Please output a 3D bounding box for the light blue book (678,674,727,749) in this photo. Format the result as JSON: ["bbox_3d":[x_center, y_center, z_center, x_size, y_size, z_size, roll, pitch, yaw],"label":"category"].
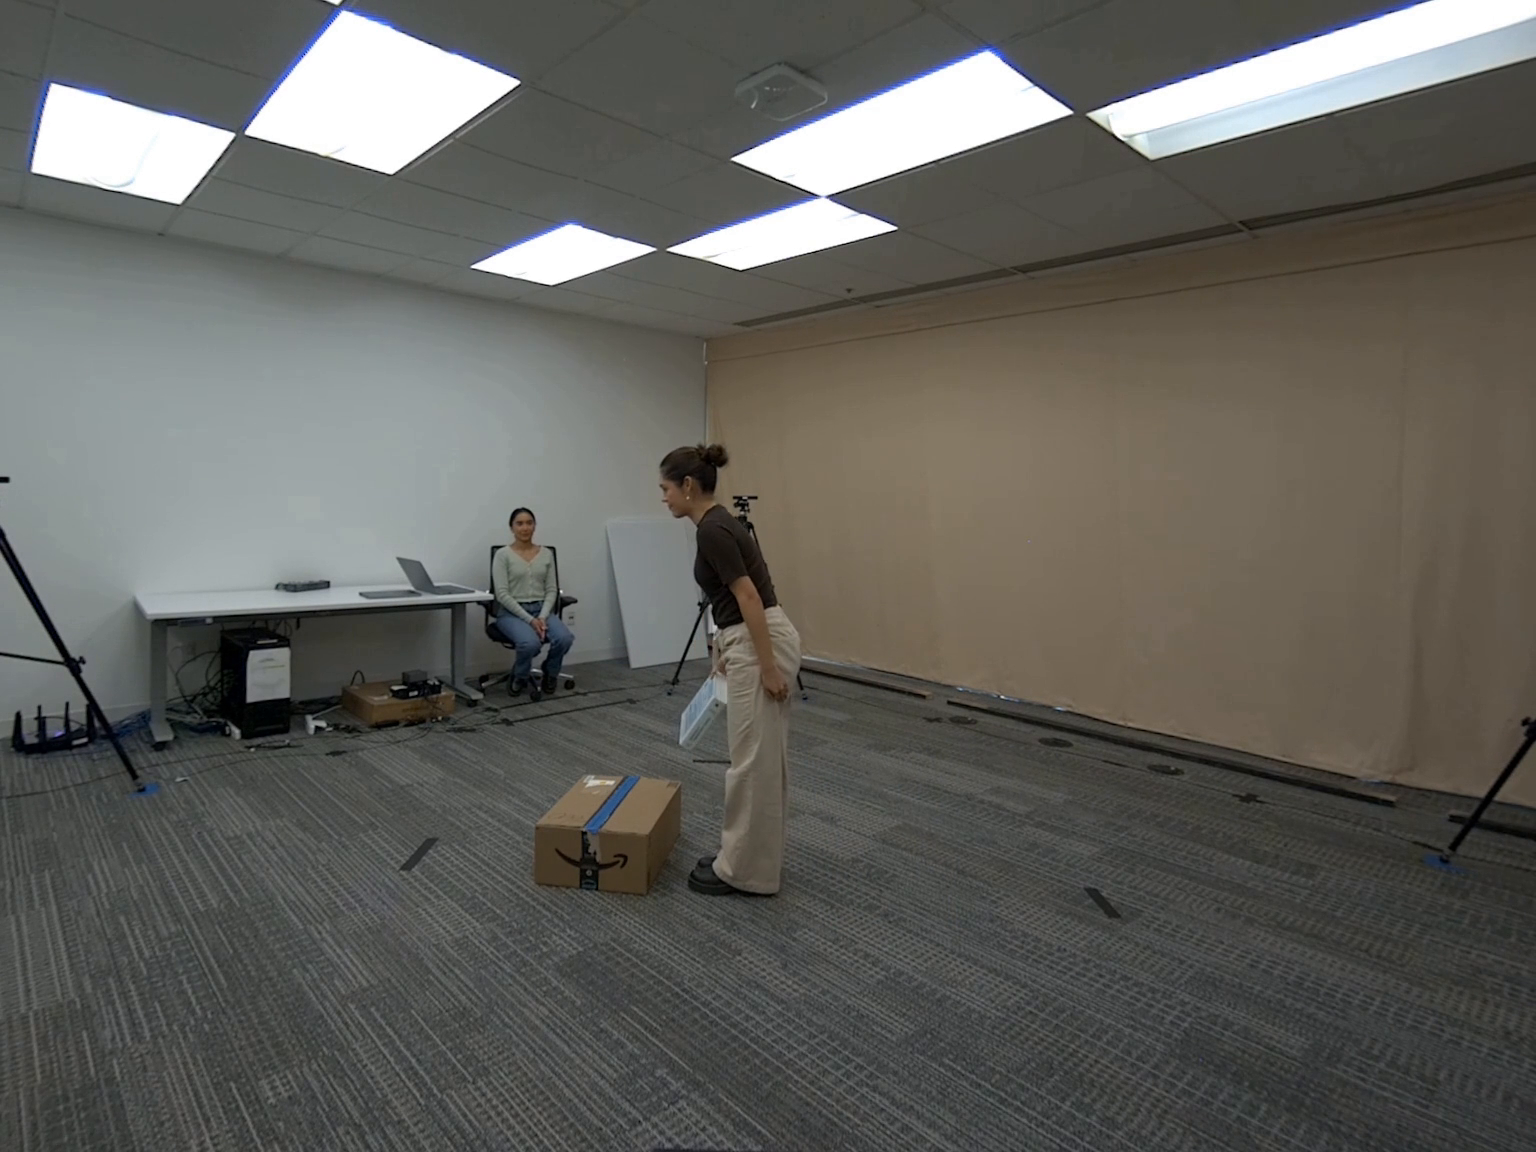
[{"bbox_3d":[-0.257,0.511,3.232,0.058,0.260,0.195,28,23,-15],"label":"light blue book"}]
